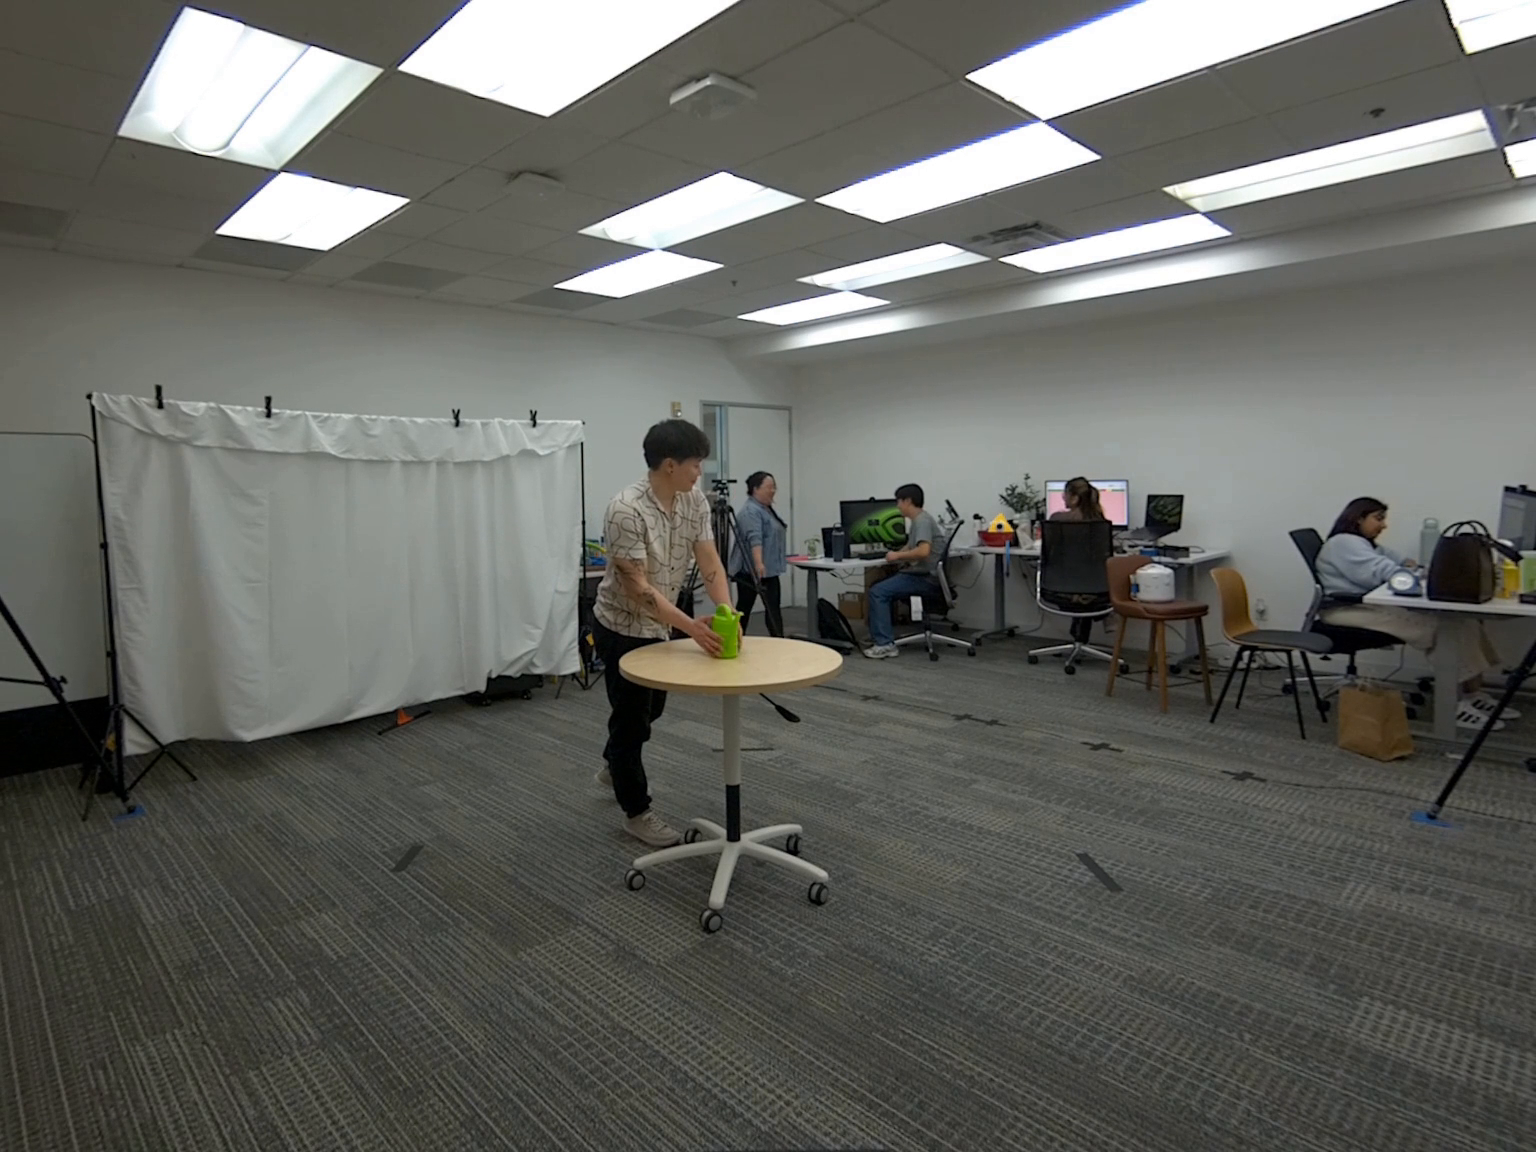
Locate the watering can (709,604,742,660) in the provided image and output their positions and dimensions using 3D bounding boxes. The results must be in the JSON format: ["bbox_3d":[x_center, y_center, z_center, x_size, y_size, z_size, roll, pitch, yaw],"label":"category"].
[{"bbox_3d":[-0.143,0.194,2.948,0.097,0.176,0.280,-3,5,-5],"label":"watering can"}]
